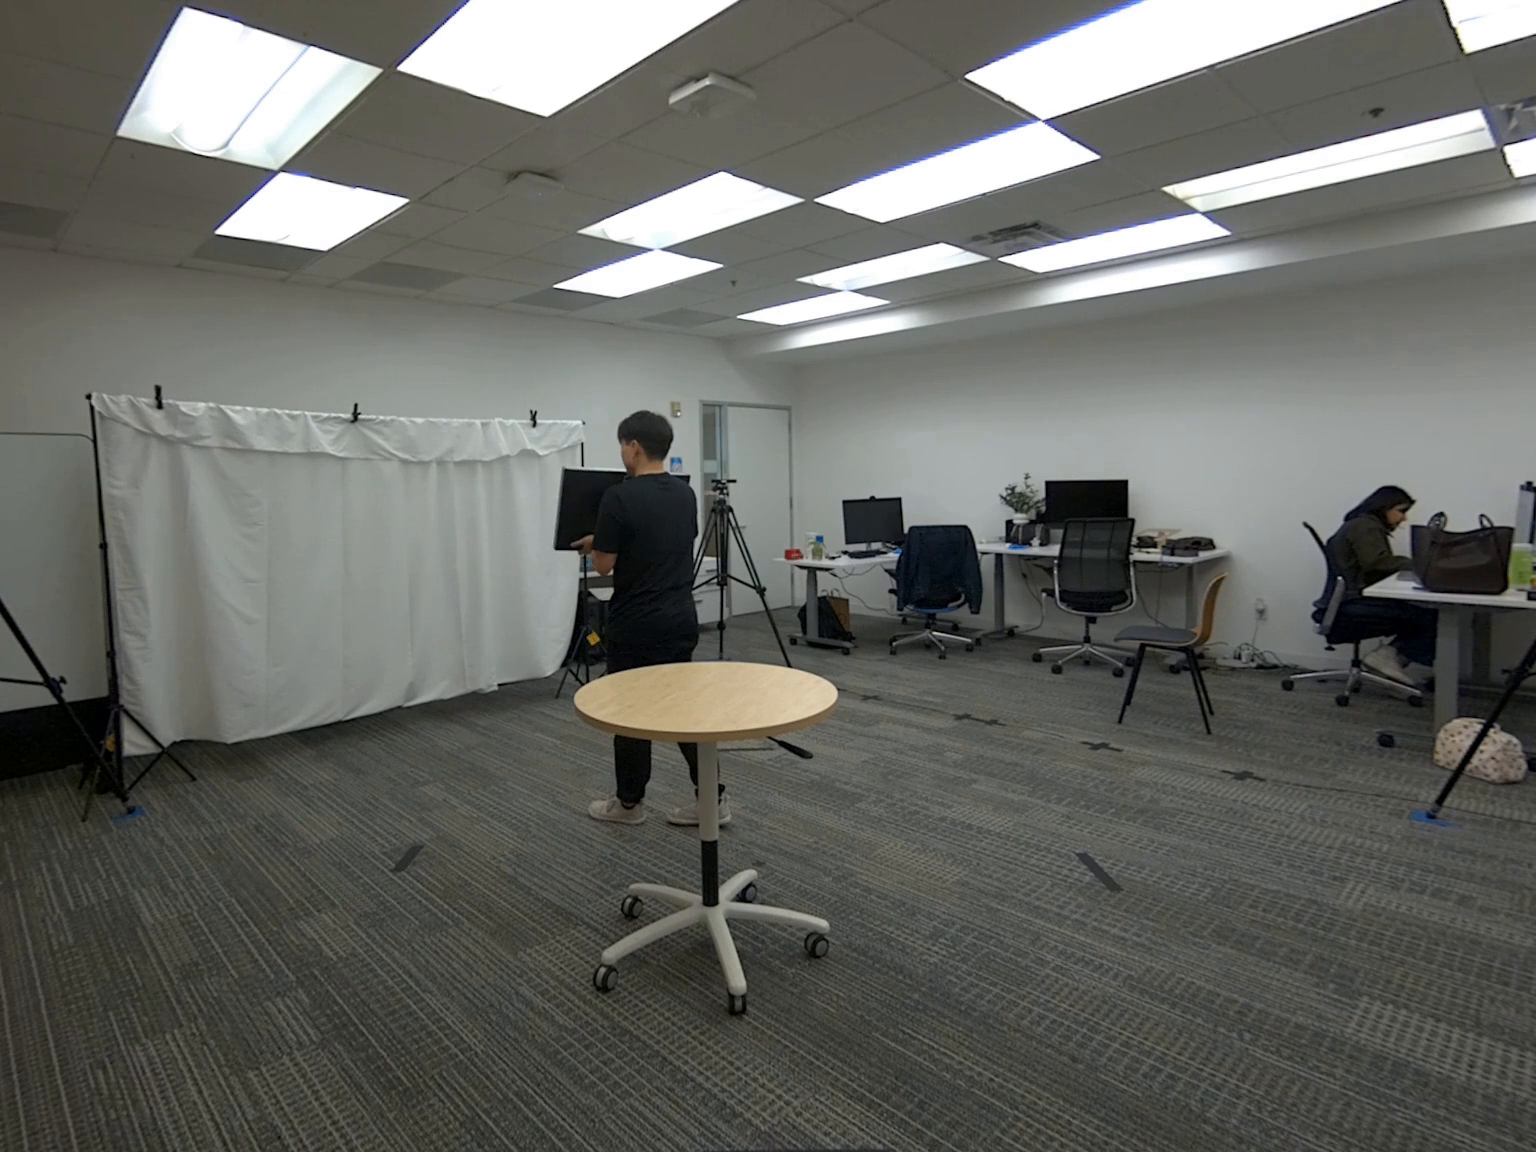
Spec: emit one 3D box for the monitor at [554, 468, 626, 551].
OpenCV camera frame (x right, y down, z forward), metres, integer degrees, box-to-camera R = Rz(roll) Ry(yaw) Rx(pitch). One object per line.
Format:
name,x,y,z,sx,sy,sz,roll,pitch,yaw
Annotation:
monitor,-0.606,-0.182,3.616,0.526,0.518,0.193,0,11,-27
